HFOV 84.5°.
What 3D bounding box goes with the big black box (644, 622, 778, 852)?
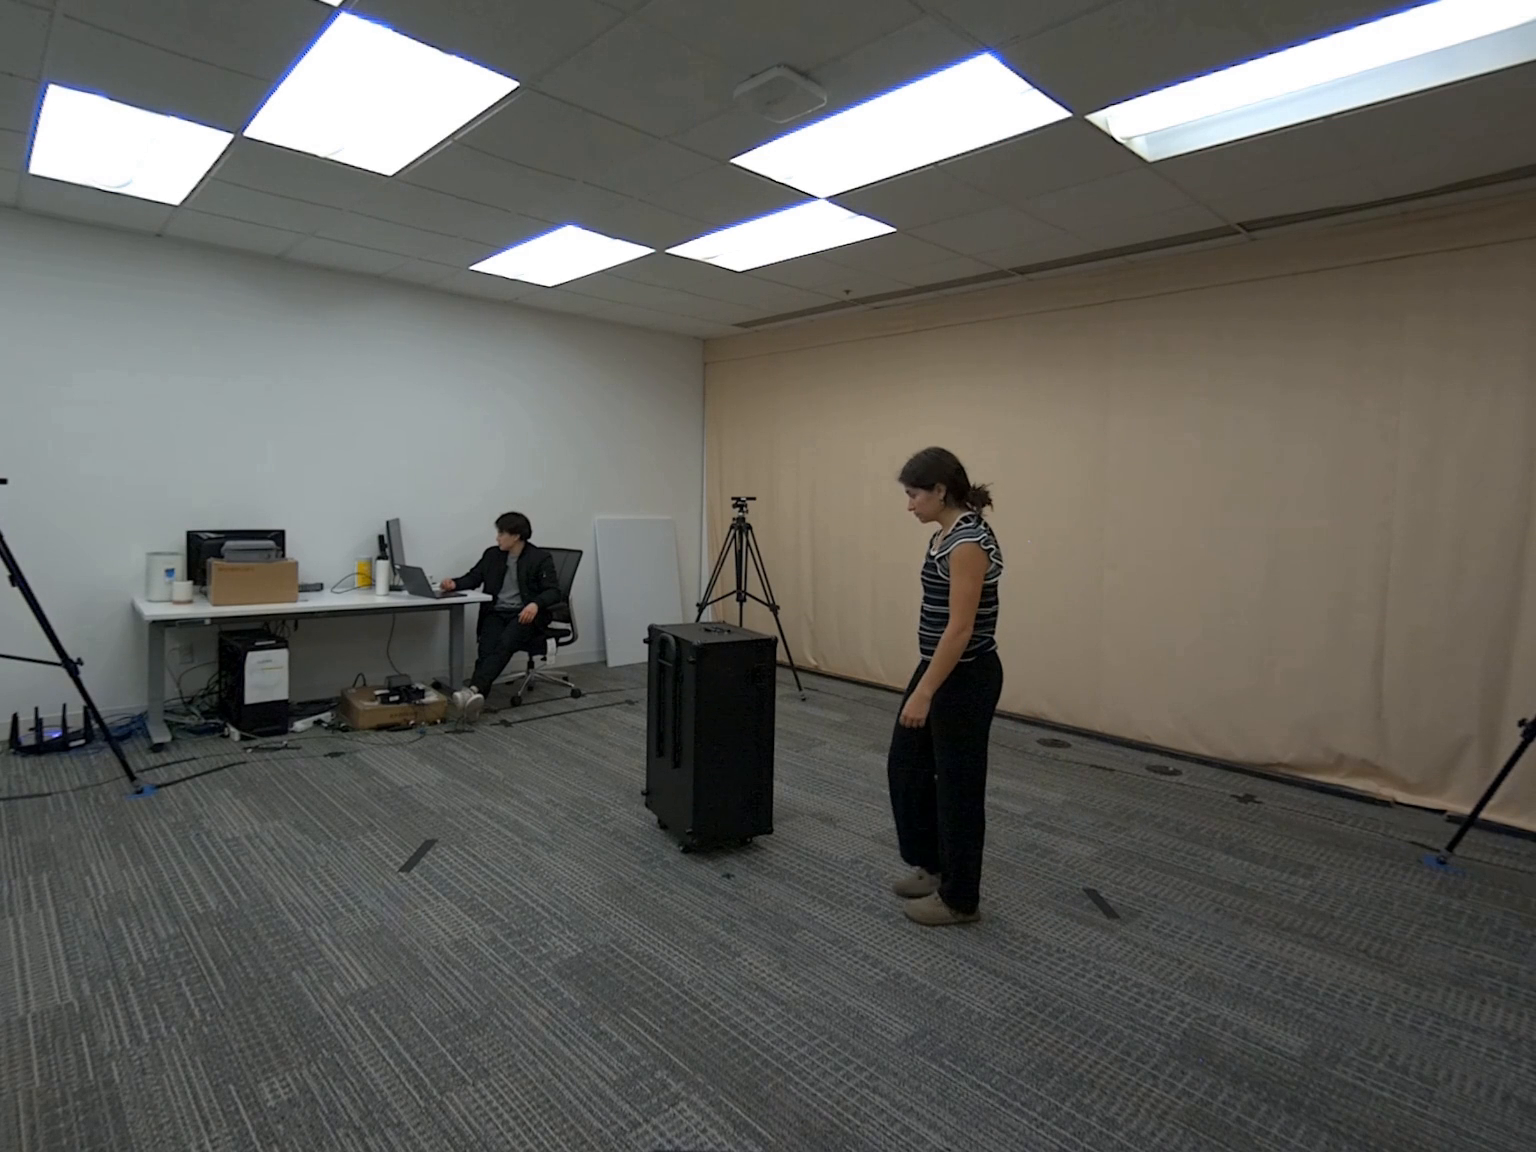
[{"bbox_3d":[-0.257,0.649,3.436,0.389,0.859,0.533,-1,4,-29],"label":"big black box"}]
